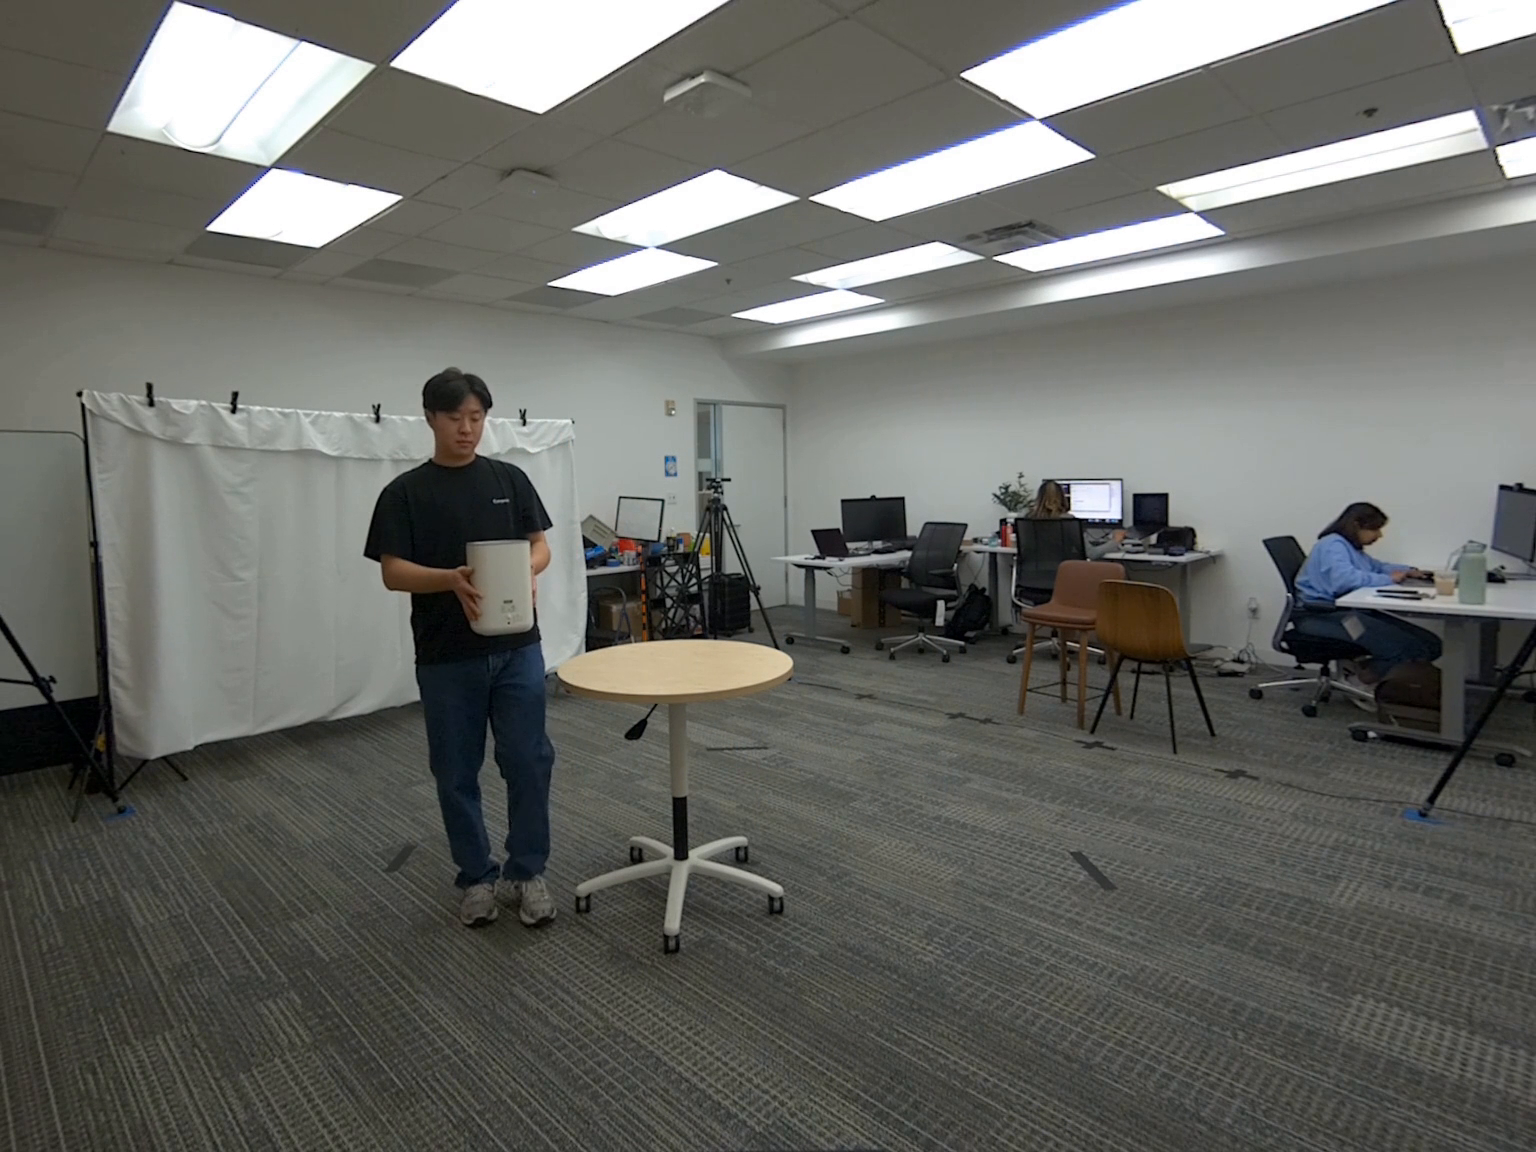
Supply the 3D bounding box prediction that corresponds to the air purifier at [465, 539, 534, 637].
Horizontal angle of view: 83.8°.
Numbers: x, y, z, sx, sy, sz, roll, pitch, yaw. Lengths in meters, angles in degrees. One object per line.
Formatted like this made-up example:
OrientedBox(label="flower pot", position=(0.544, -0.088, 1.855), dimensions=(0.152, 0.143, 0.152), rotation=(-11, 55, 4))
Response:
OrientedBox(label="air purifier", position=(-0.793, 0.033, 2.506), dimensions=(0.167, 0.265, 0.176), rotation=(-4, 3, -32))
